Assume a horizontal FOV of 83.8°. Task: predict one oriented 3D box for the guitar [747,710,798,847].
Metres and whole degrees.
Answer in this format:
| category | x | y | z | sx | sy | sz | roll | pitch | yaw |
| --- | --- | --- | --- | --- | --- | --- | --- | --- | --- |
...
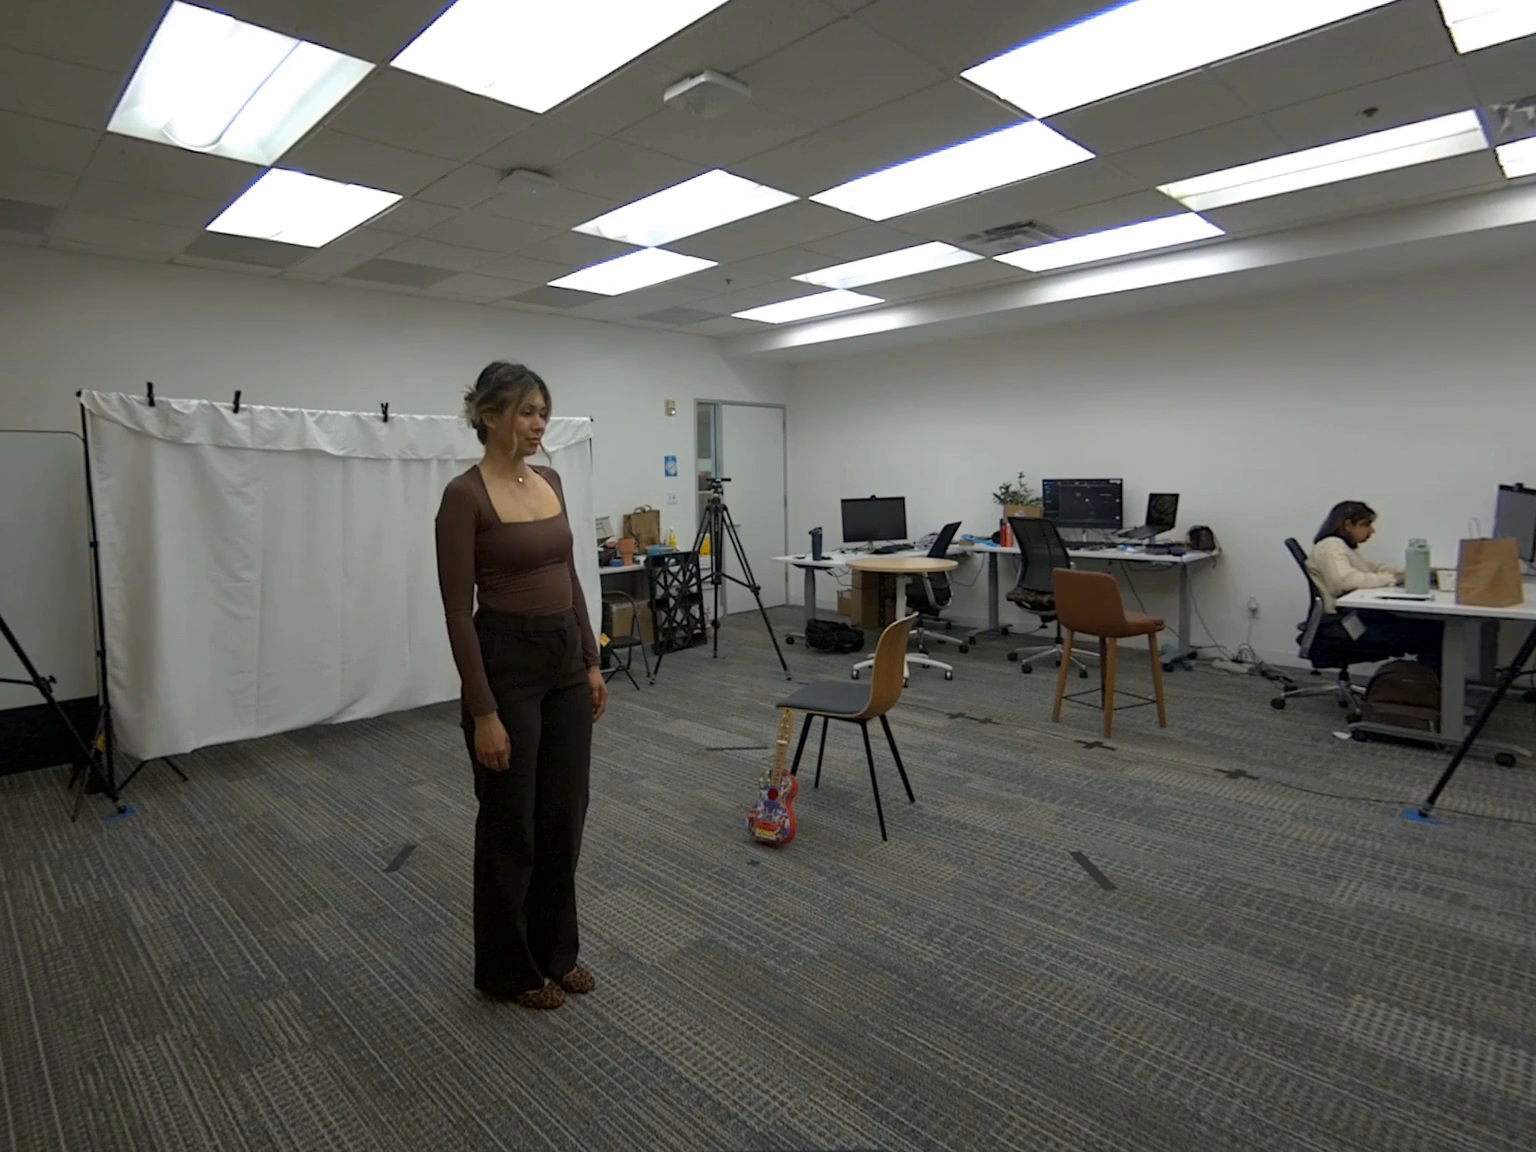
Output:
| category | x | y | z | sx | sy | sz | roll | pitch | yaw |
| --- | --- | --- | --- | --- | --- | --- | --- | --- | --- |
| guitar | 0.065 | 0.787 | 3.314 | 0.199 | 0.502 | 0.068 | 8 | -18 | 32 |
